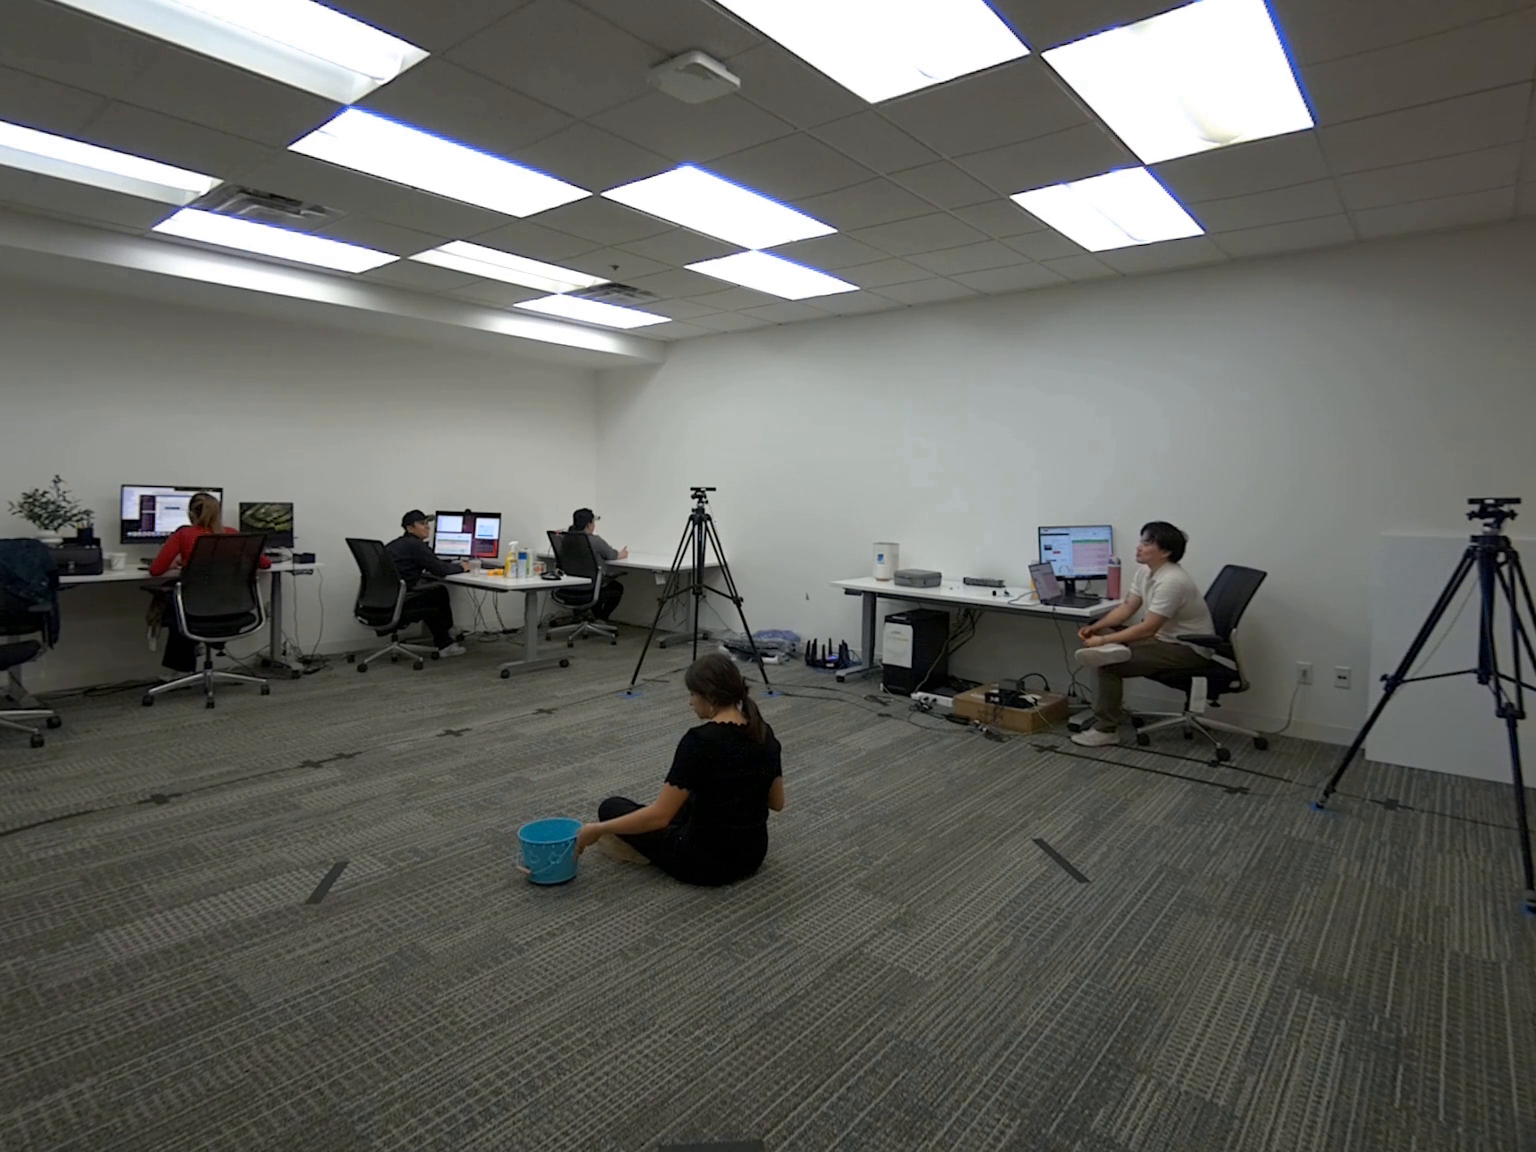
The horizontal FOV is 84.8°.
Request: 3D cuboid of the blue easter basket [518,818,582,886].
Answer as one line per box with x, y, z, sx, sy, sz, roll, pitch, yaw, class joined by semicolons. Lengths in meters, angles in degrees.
-0.786;0.974;3.023;0.243;0.155;0.244;-1;3;-2;blue easter basket
